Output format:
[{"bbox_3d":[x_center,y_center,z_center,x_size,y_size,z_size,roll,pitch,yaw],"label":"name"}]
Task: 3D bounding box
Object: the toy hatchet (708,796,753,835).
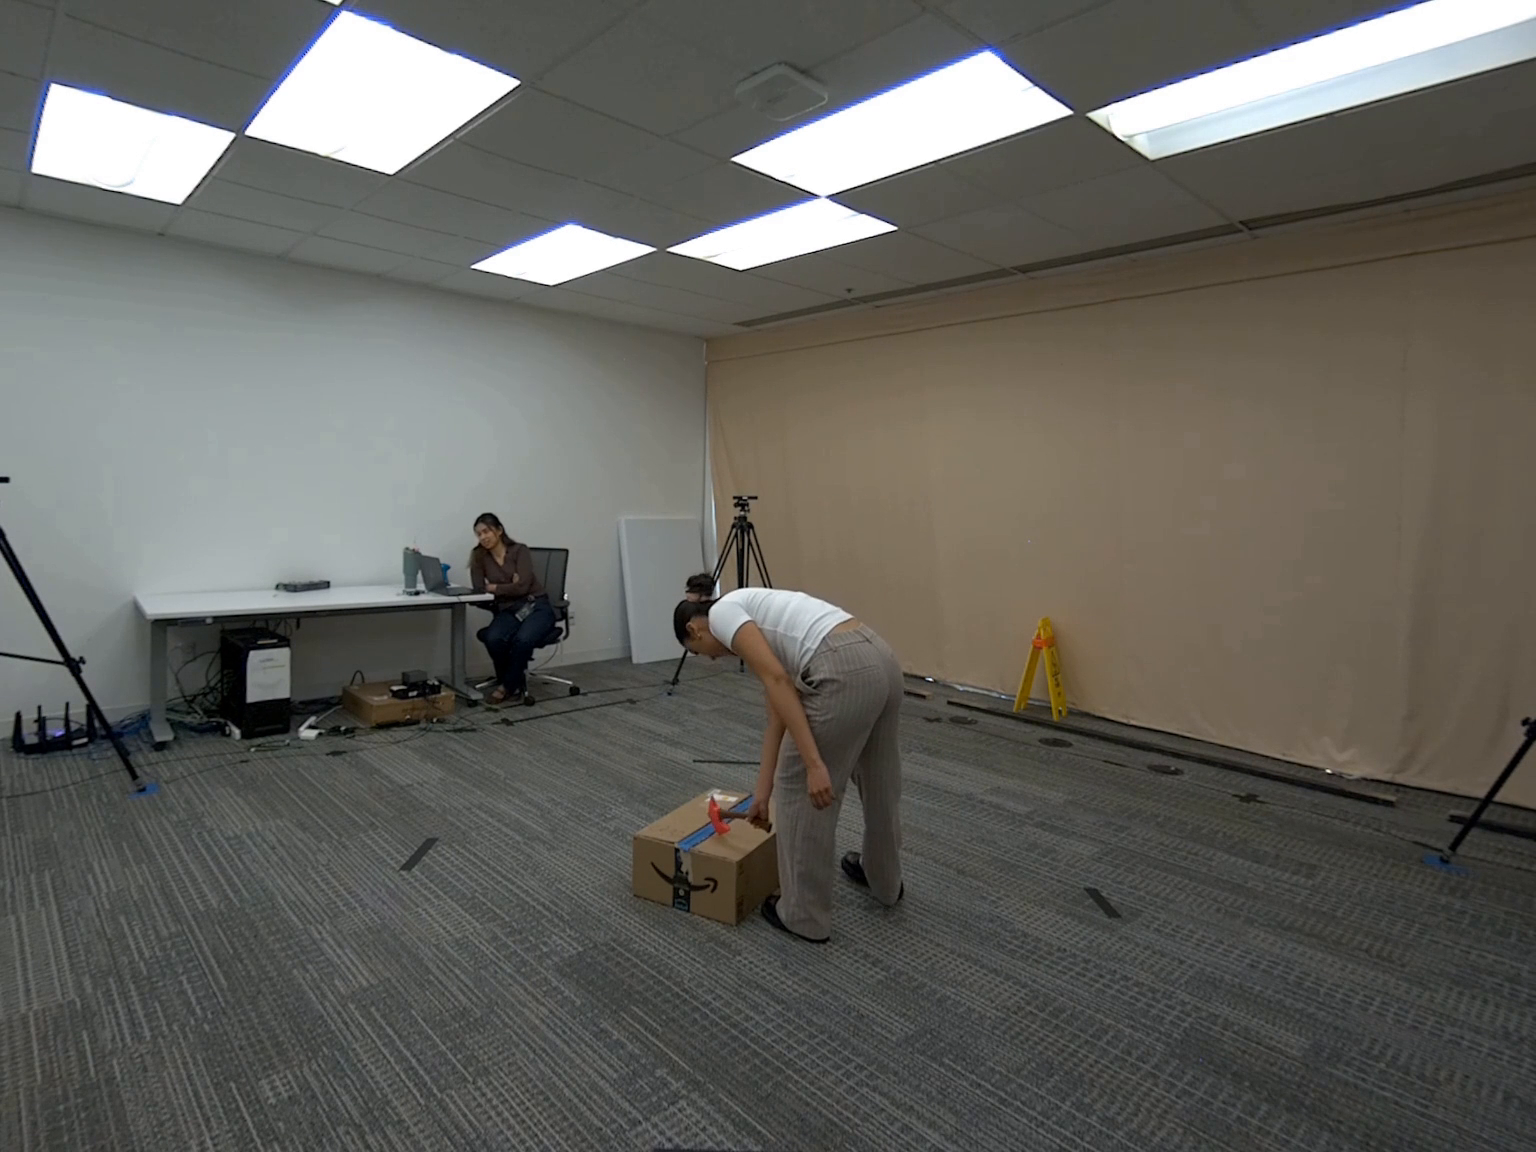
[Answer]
[{"bbox_3d":[-0.105,0.853,2.863,0.277,0.130,0.029,14,14,37],"label":"toy hatchet"}]
